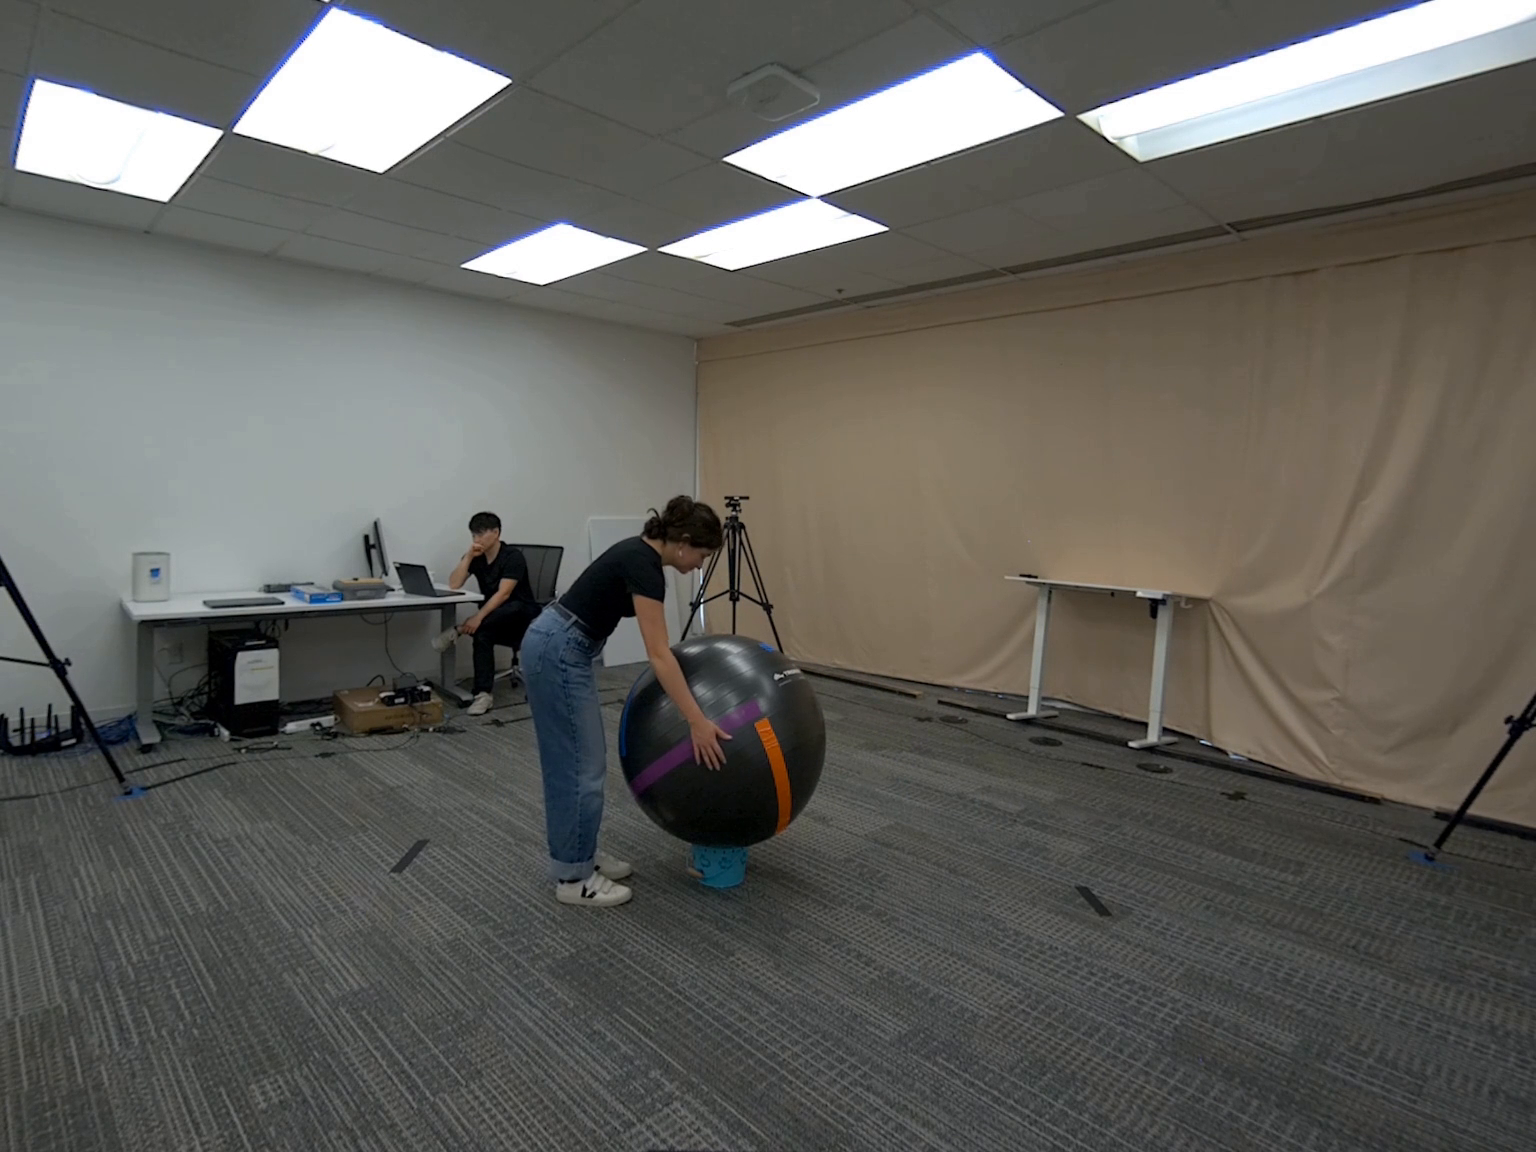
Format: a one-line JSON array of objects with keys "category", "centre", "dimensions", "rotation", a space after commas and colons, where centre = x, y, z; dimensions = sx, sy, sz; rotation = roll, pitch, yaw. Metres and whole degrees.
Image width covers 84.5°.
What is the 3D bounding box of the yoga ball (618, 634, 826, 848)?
[{"category": "yoga ball", "centre": [-0.172, 0.595, 3.067], "dimensions": [0.757, 0.756, 0.760], "rotation": [1, 4, -1]}]
